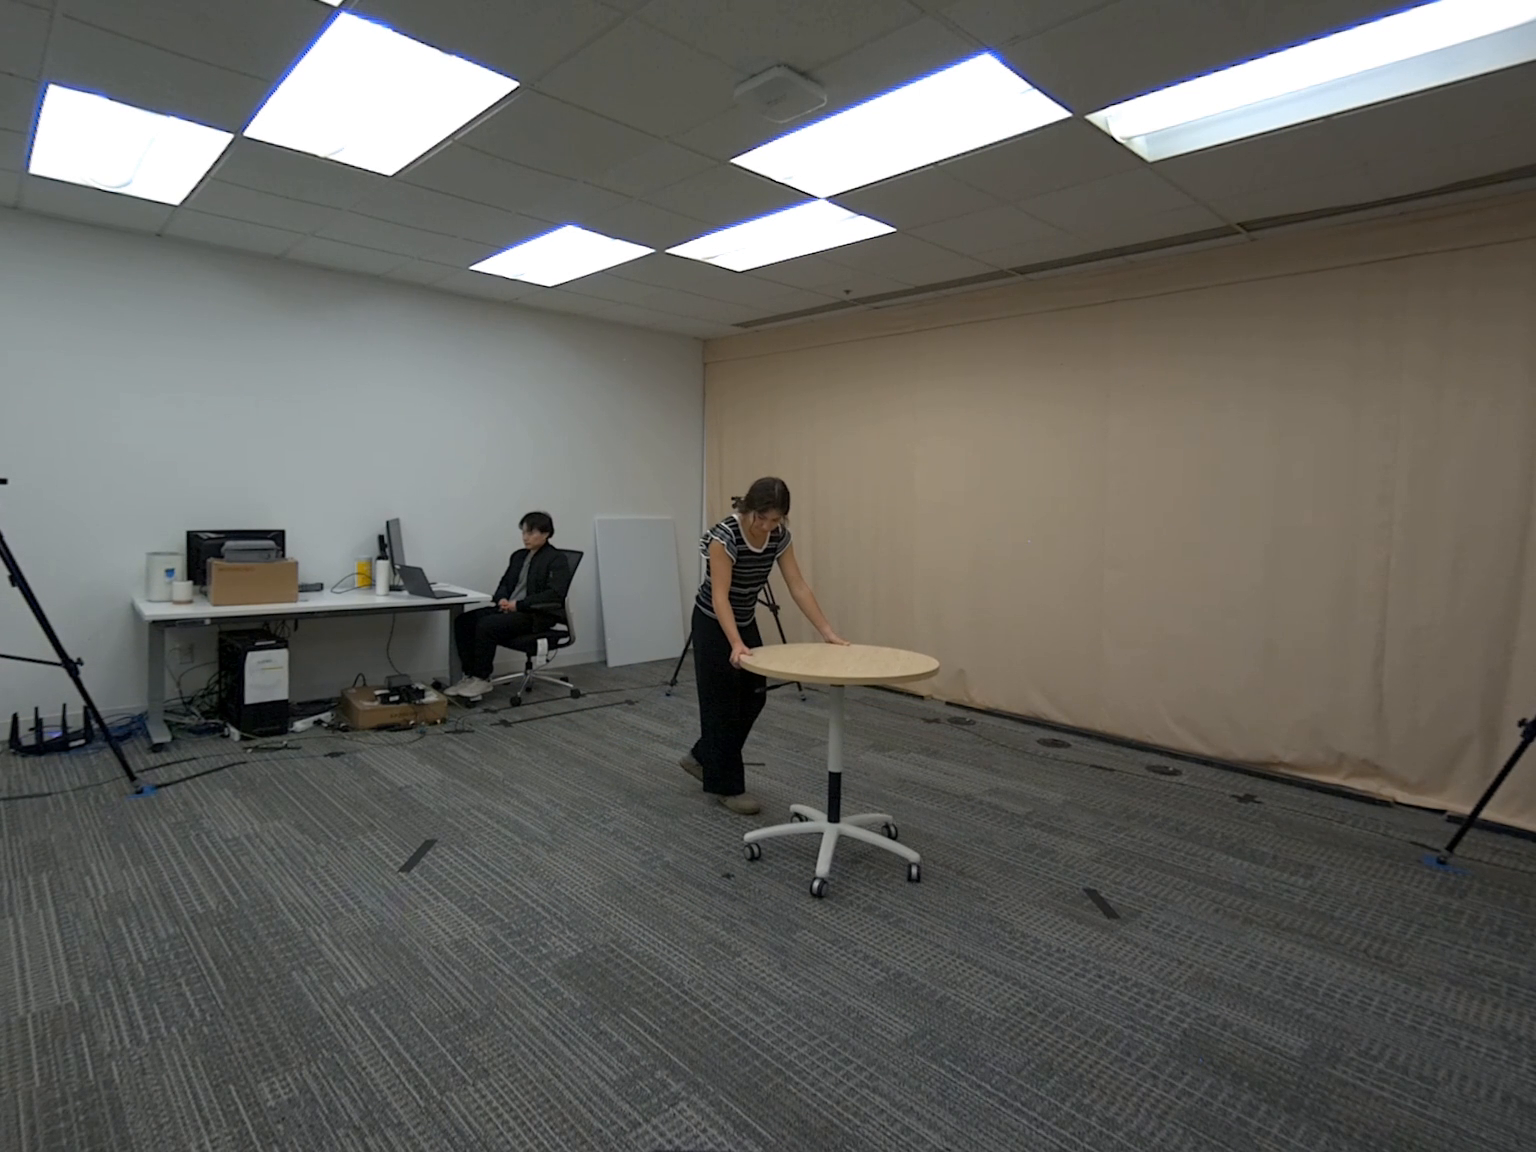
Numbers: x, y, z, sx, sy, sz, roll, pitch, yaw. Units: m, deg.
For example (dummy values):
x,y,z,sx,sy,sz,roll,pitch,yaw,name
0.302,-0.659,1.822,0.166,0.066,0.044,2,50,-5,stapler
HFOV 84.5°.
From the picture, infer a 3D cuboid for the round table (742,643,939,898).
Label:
x,y,z,sx,sy,sz,roll,pitch,yaw,name
0.256,0.711,3.271,0.763,0.792,0.766,1,3,-1,round table
